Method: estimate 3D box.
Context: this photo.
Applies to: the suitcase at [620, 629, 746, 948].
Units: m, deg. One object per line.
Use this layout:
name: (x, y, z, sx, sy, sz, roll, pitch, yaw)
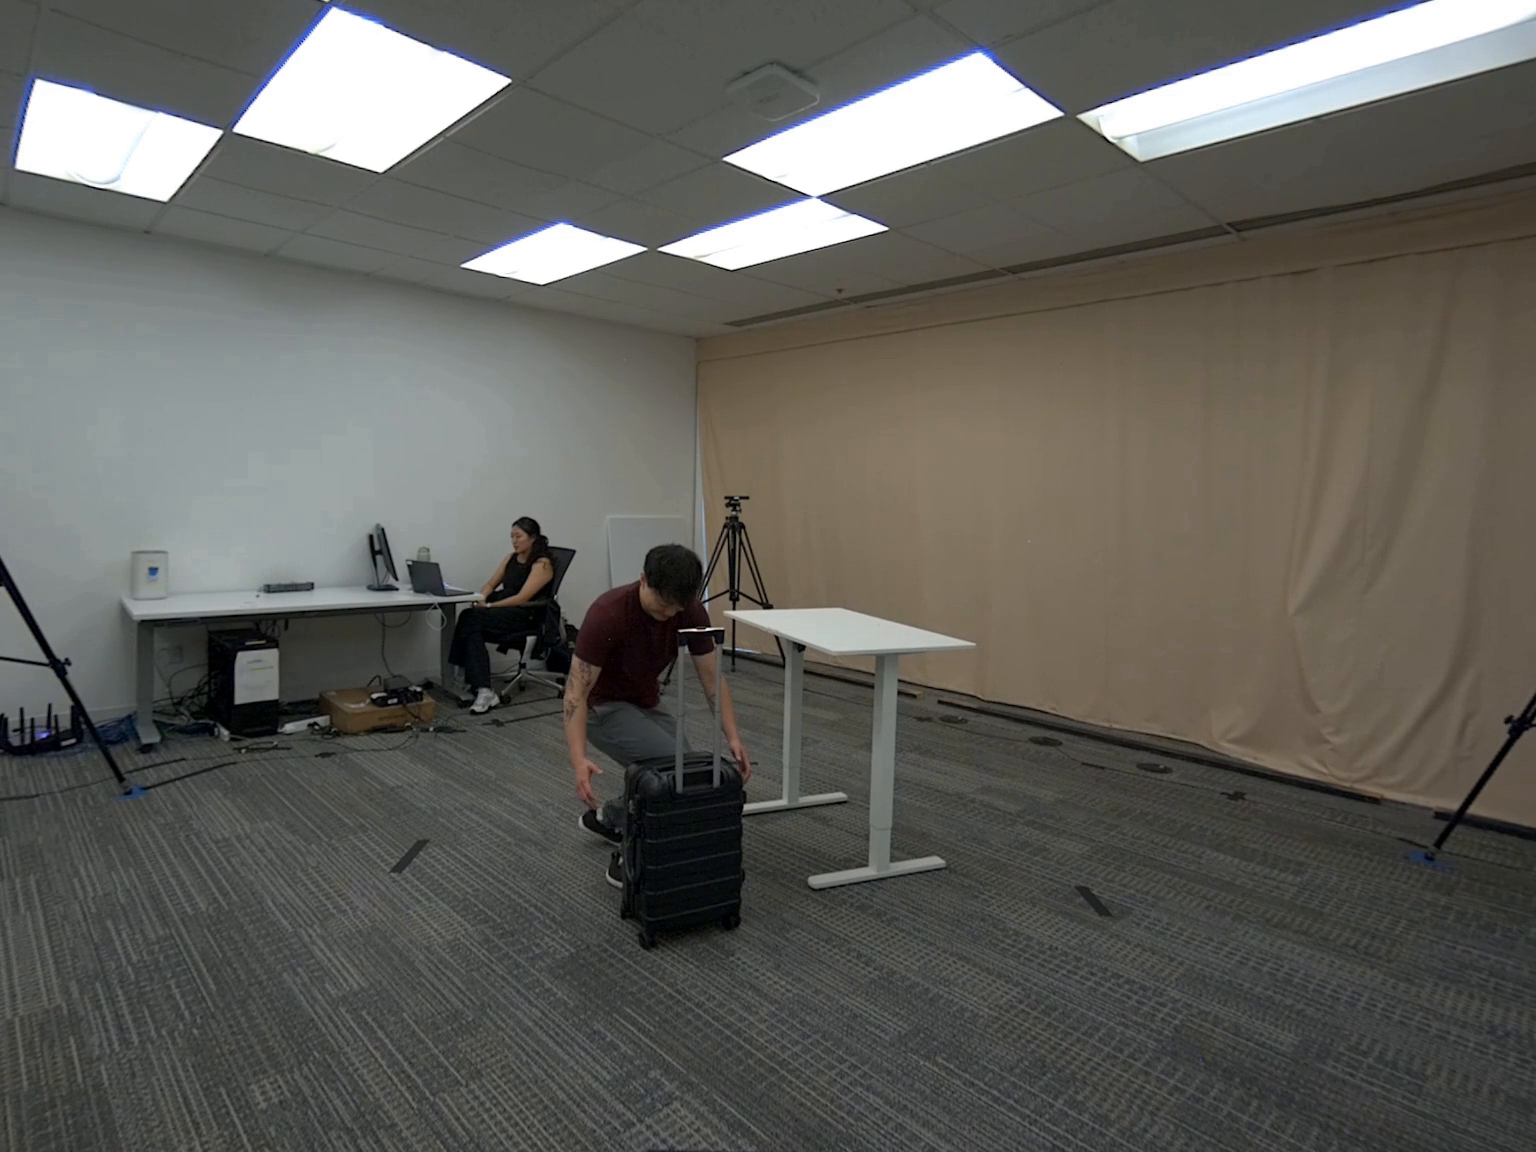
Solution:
suitcase: (-0.277, 0.657, 2.709, 0.377, 0.977, 0.262, 0, 2, -24)
